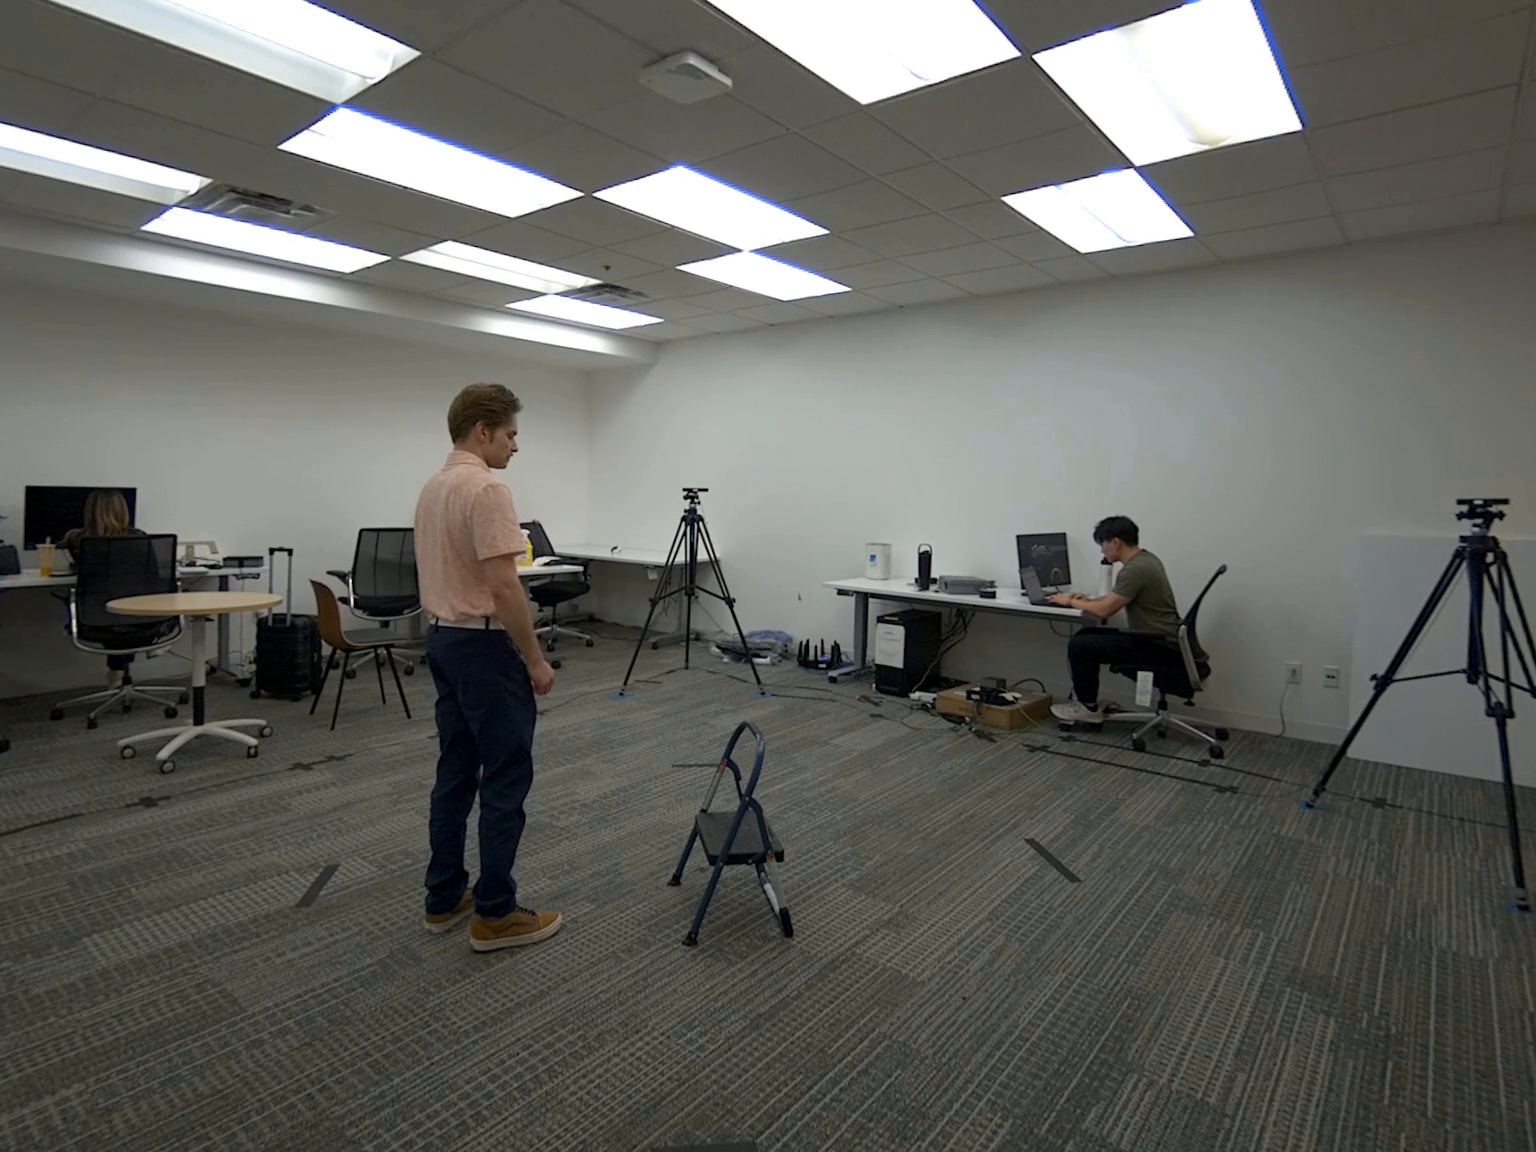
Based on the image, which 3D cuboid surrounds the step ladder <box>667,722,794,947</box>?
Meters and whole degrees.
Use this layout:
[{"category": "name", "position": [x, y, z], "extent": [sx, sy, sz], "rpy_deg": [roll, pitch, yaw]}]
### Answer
[{"category": "step ladder", "position": [-0.130, 0.808, 2.801], "extent": [0.345, 0.604, 0.438], "rpy_deg": [1, 4, -13]}]
